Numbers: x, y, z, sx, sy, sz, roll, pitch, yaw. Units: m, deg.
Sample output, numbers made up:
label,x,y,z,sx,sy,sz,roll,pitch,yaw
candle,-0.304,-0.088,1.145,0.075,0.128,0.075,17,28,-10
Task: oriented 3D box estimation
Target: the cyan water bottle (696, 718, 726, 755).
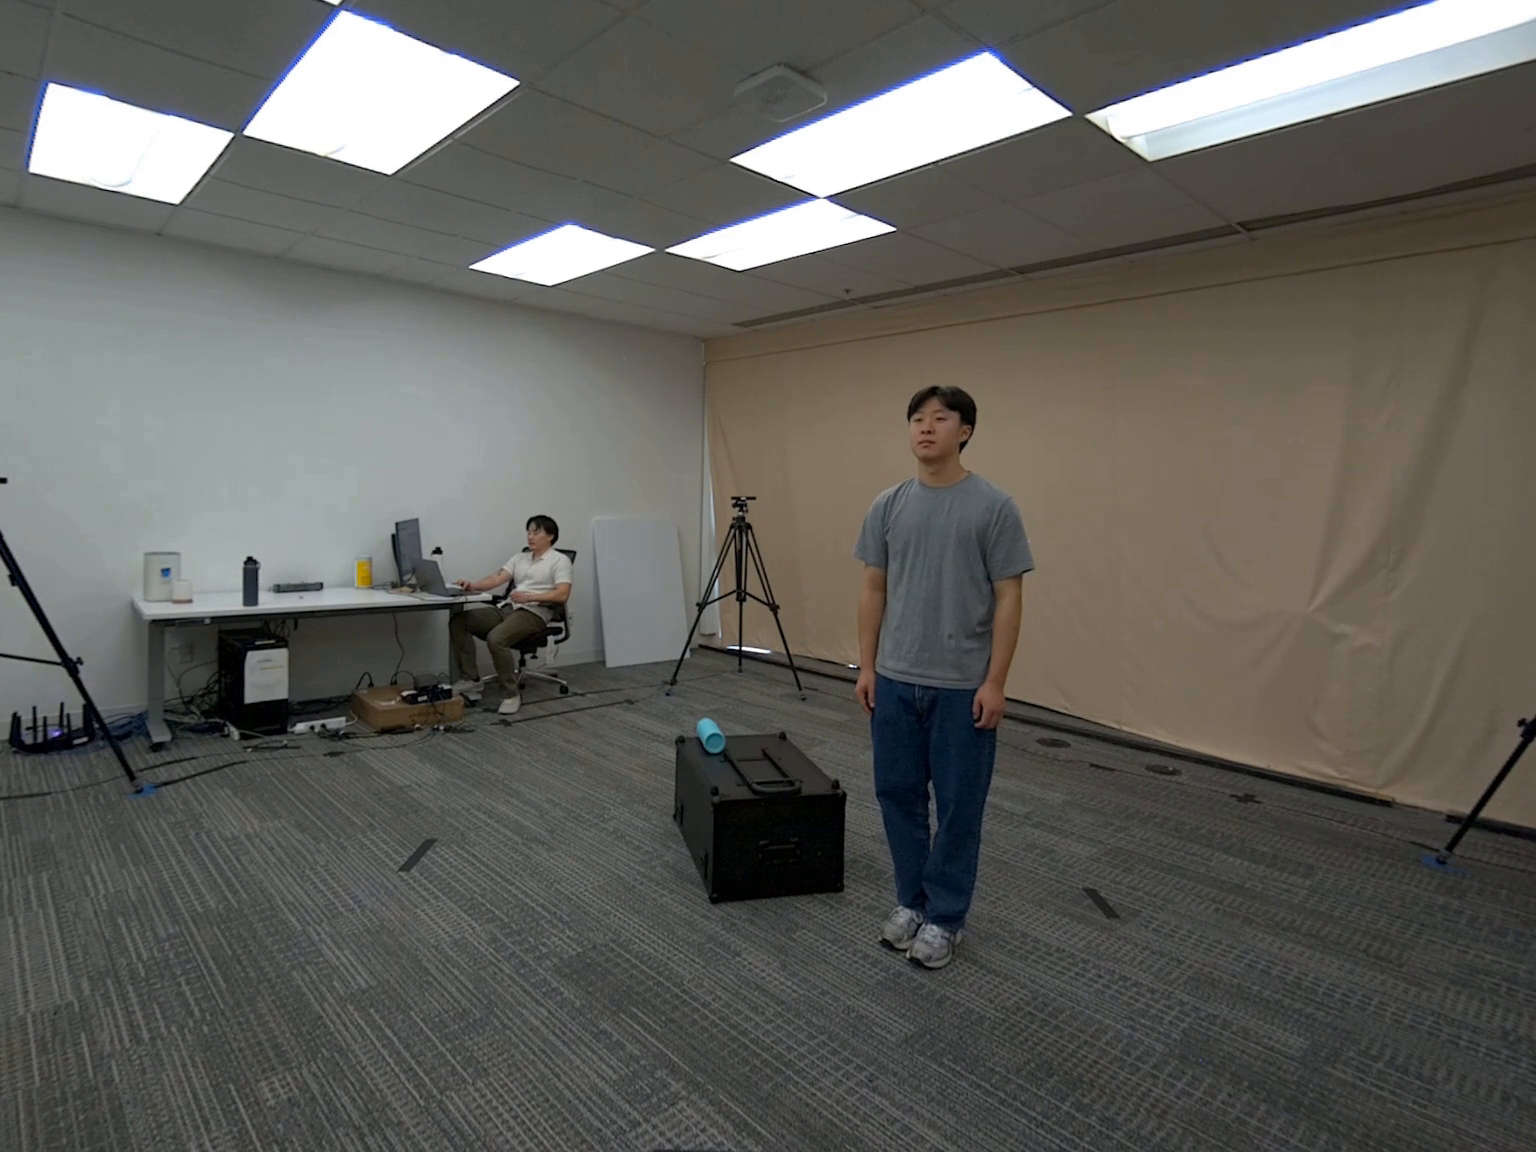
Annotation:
label,x,y,z,sx,sy,sz,roll,pitch,yaw
cyan water bottle,-0.250,0.660,3.530,0.091,0.092,0.286,1,4,-12
